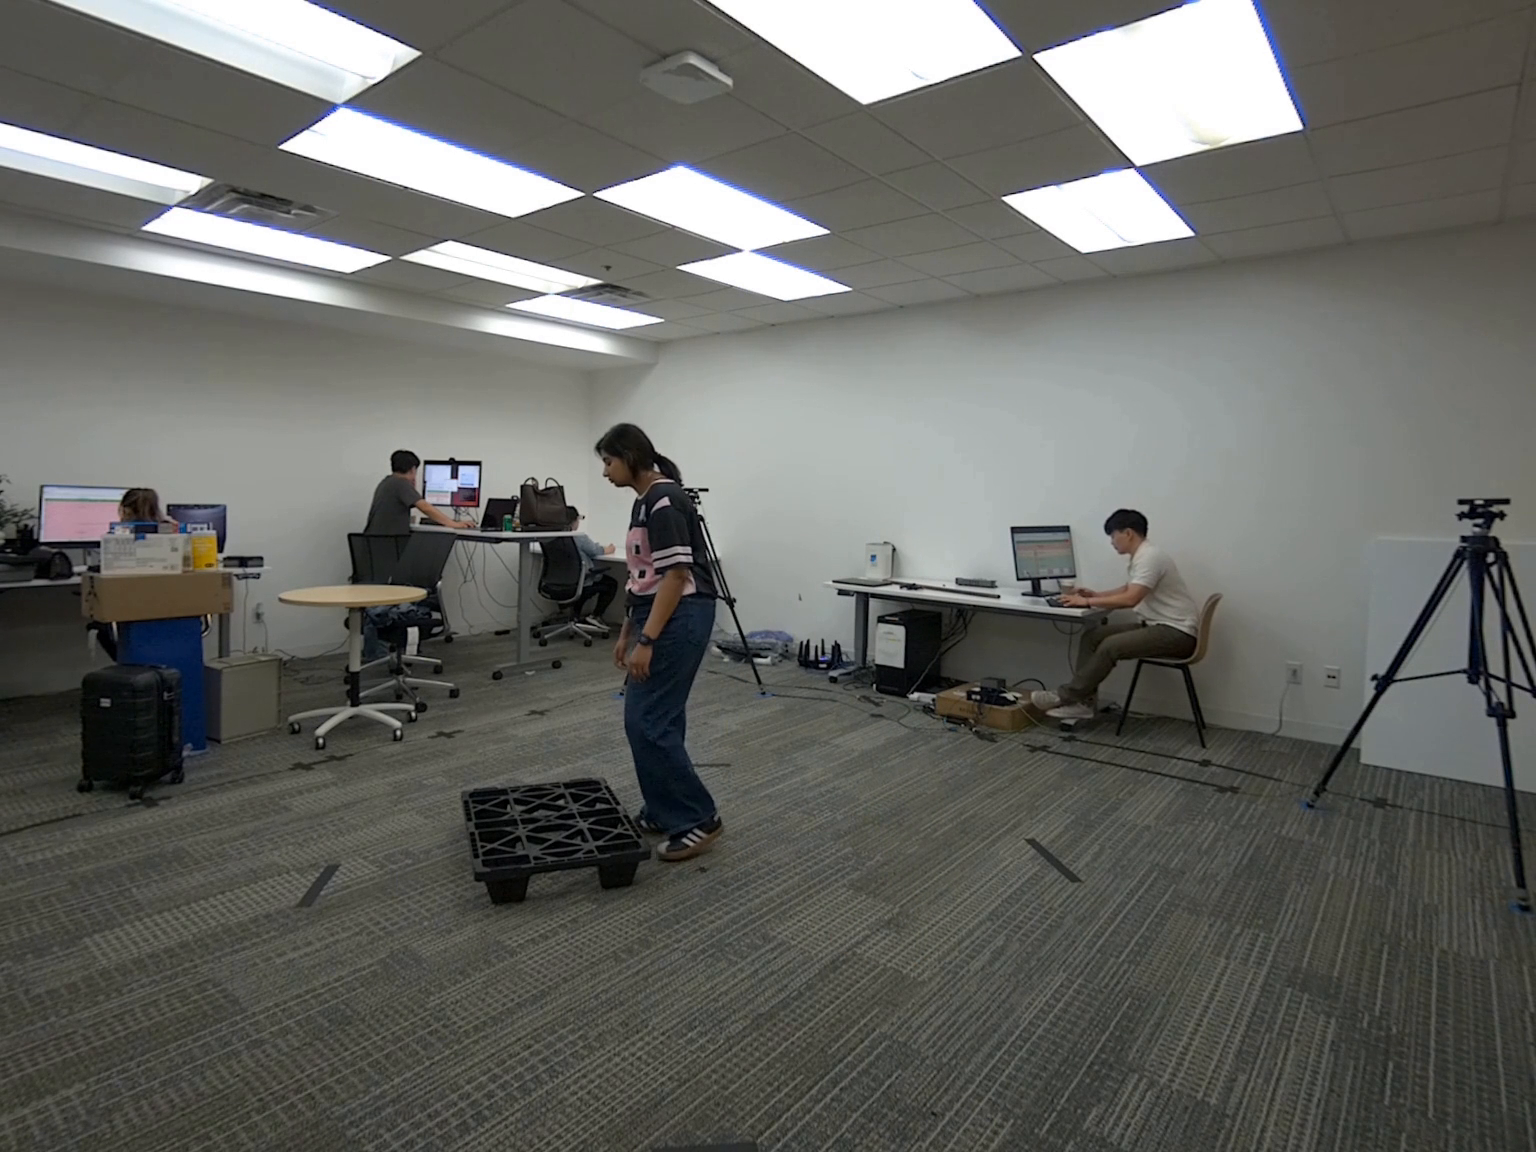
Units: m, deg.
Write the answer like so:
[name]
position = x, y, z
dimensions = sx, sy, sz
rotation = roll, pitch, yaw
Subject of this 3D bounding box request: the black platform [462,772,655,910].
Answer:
[black platform]
position = -0.837, 0.976, 3.225
dimensions = 0.592, 0.143, 0.825
rotation = -1, 6, -22
